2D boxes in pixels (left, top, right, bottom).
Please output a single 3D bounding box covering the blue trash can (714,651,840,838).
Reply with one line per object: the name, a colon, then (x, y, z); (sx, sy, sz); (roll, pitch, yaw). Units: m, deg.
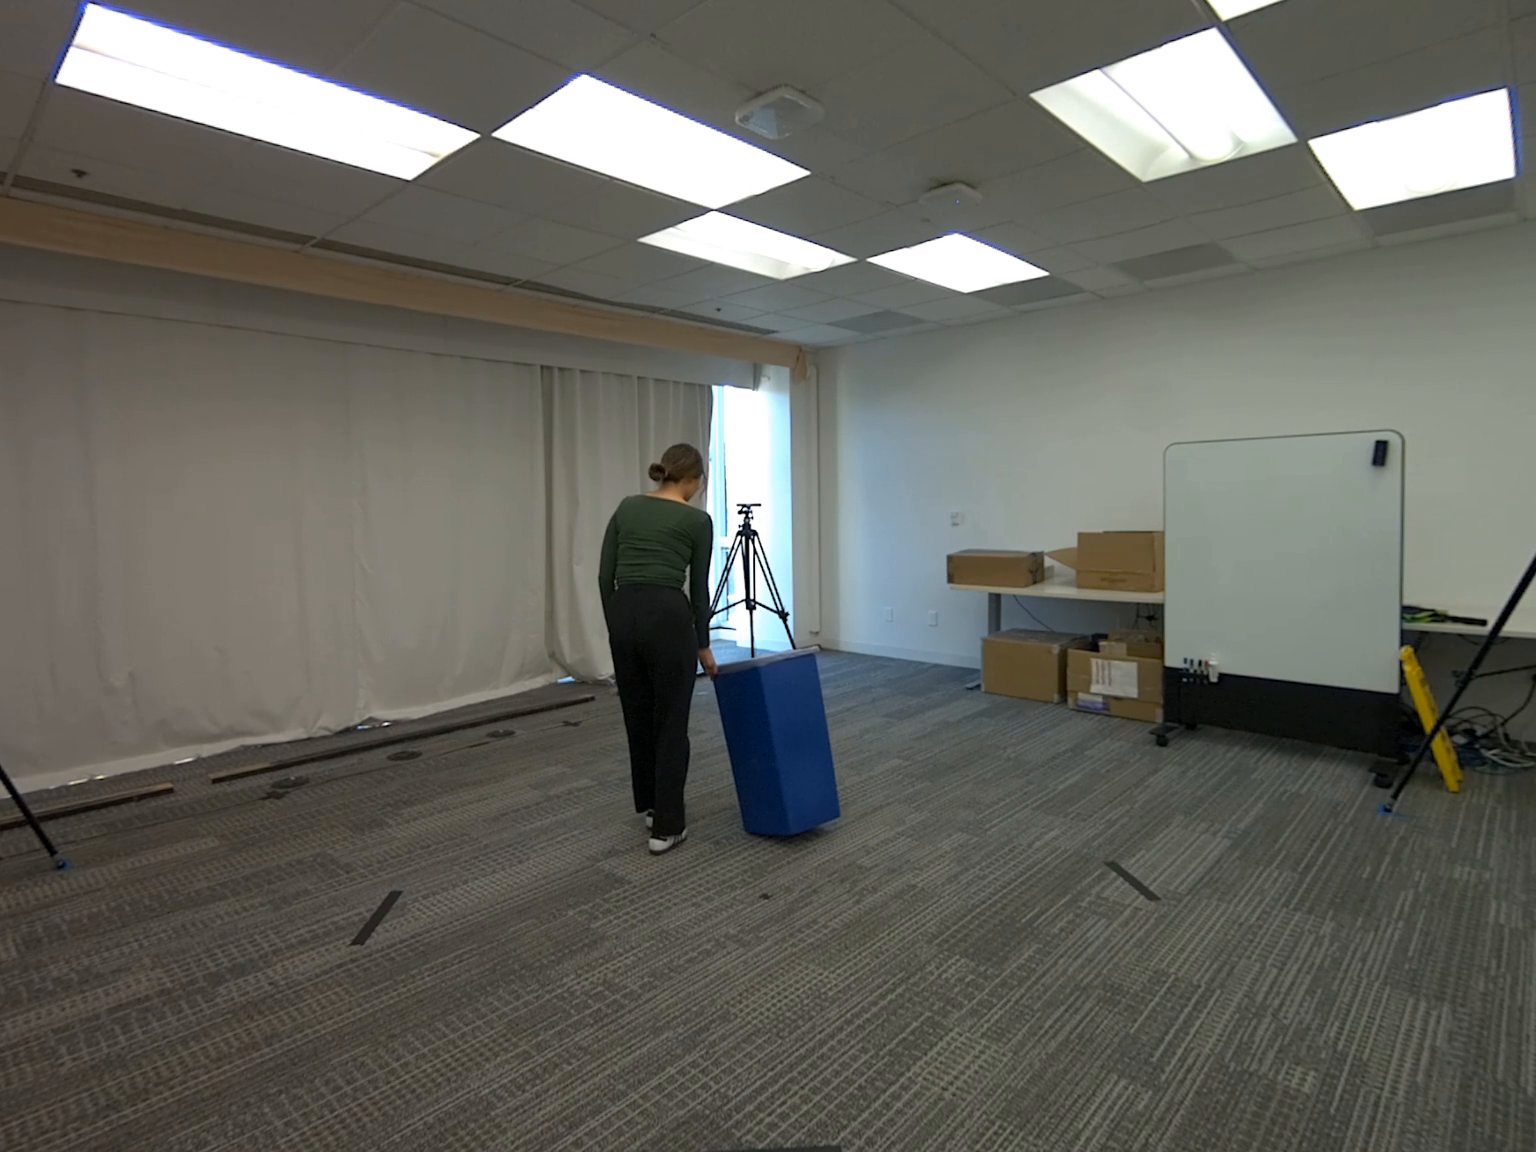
blue trash can: (0.049, 0.700, 3.602); (0.367, 0.718, 0.383); (-4, -10, -42)
